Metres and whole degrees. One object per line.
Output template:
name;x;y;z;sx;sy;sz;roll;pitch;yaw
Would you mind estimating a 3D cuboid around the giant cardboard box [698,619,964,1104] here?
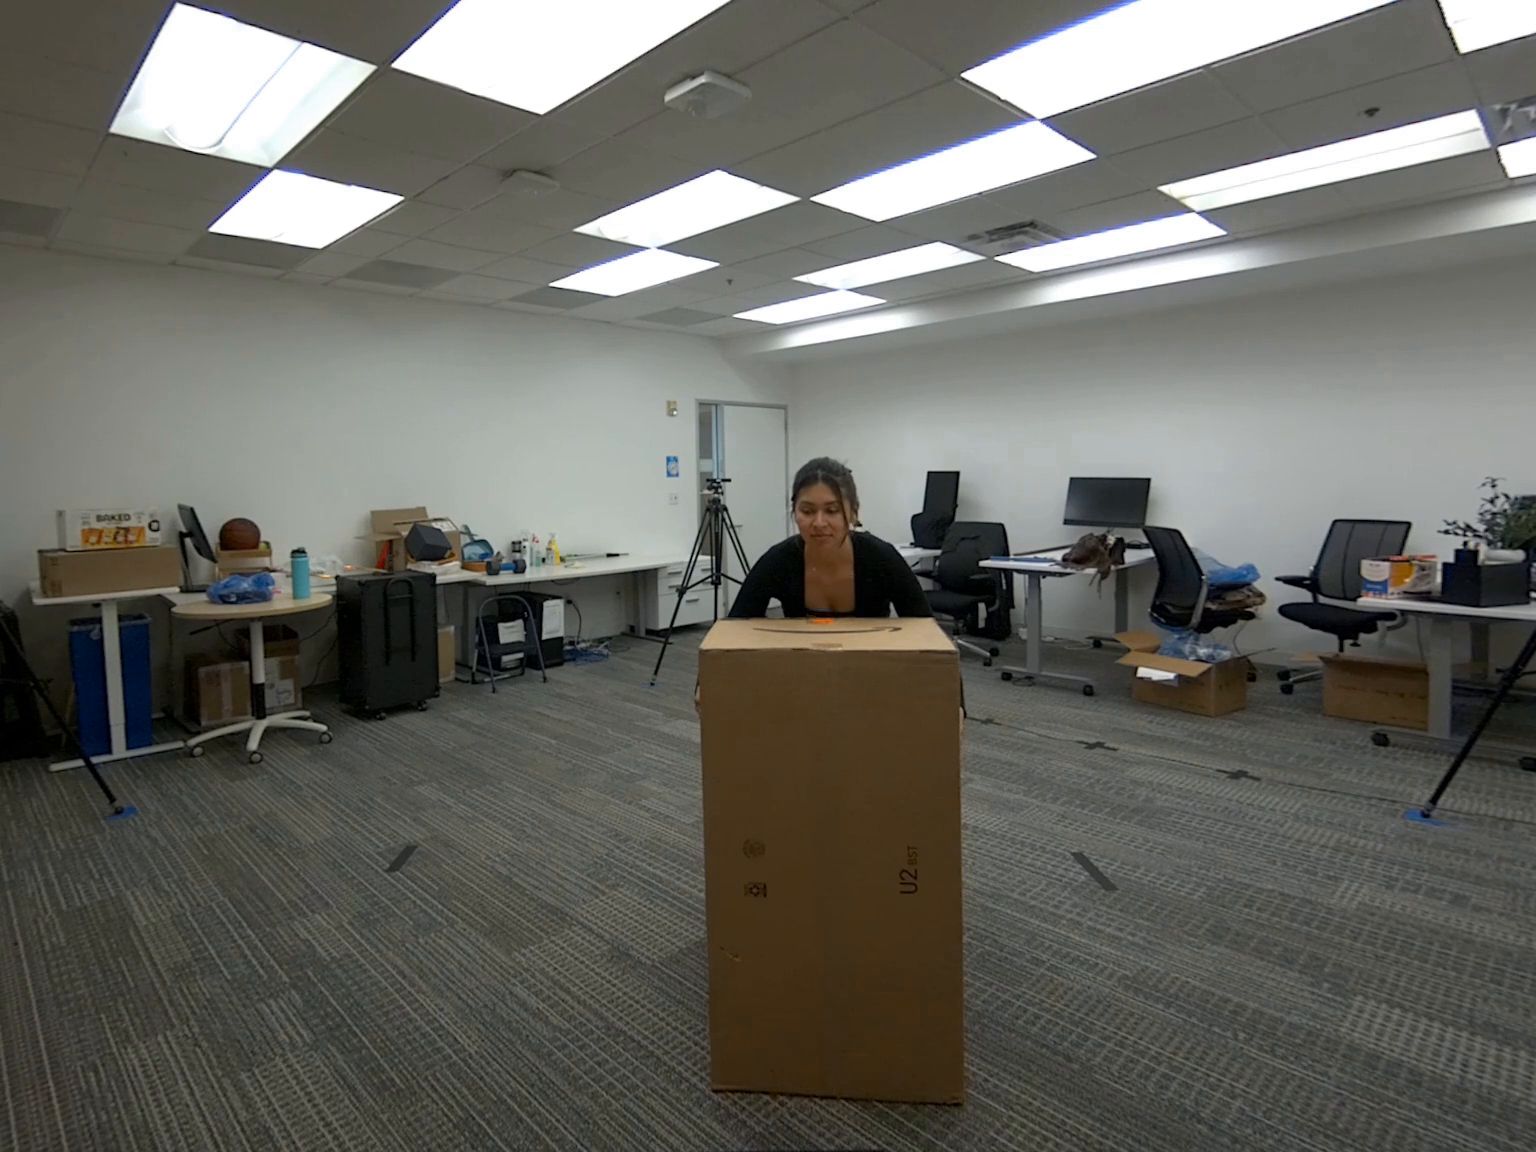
giant cardboard box;0.159;0.651;2.096;0.580;1.021;0.426;-1;5;4
